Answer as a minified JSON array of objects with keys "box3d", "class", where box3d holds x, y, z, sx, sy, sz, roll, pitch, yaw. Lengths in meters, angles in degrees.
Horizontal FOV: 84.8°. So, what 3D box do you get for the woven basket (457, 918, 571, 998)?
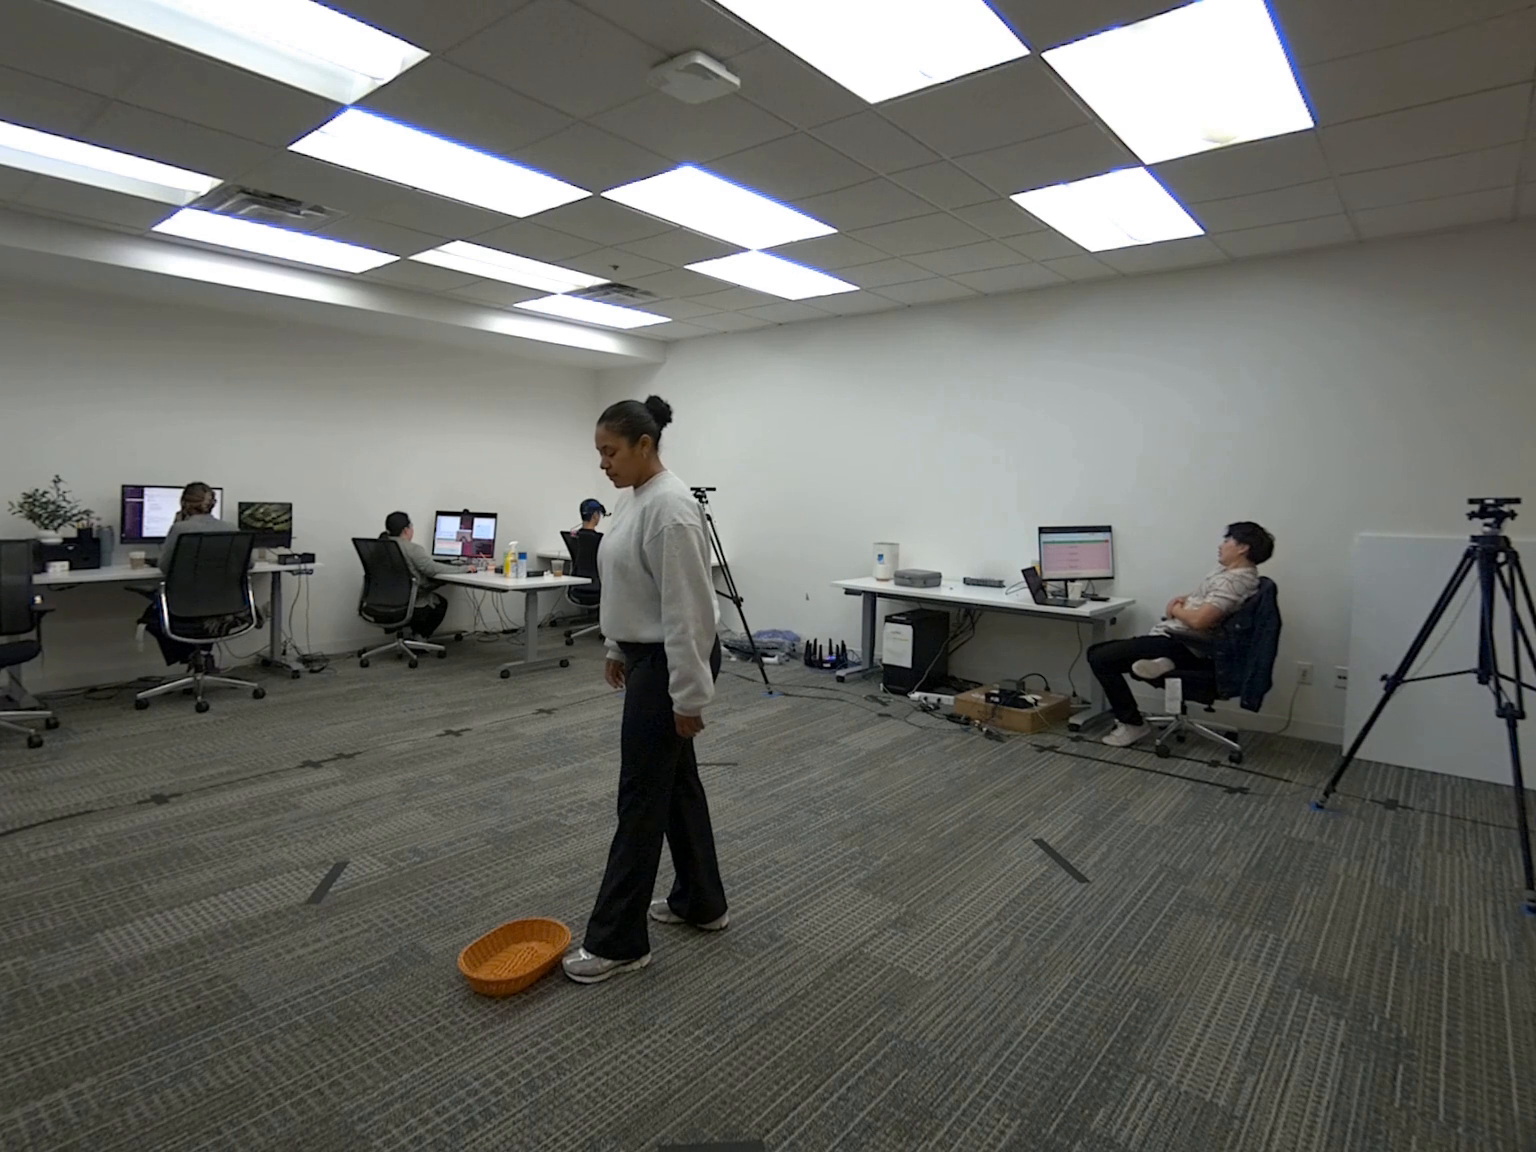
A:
[{"box3d":[-0.712,1.087,2.432,0.260,0.073,0.340,3,5,34],"class":"woven basket"}]
